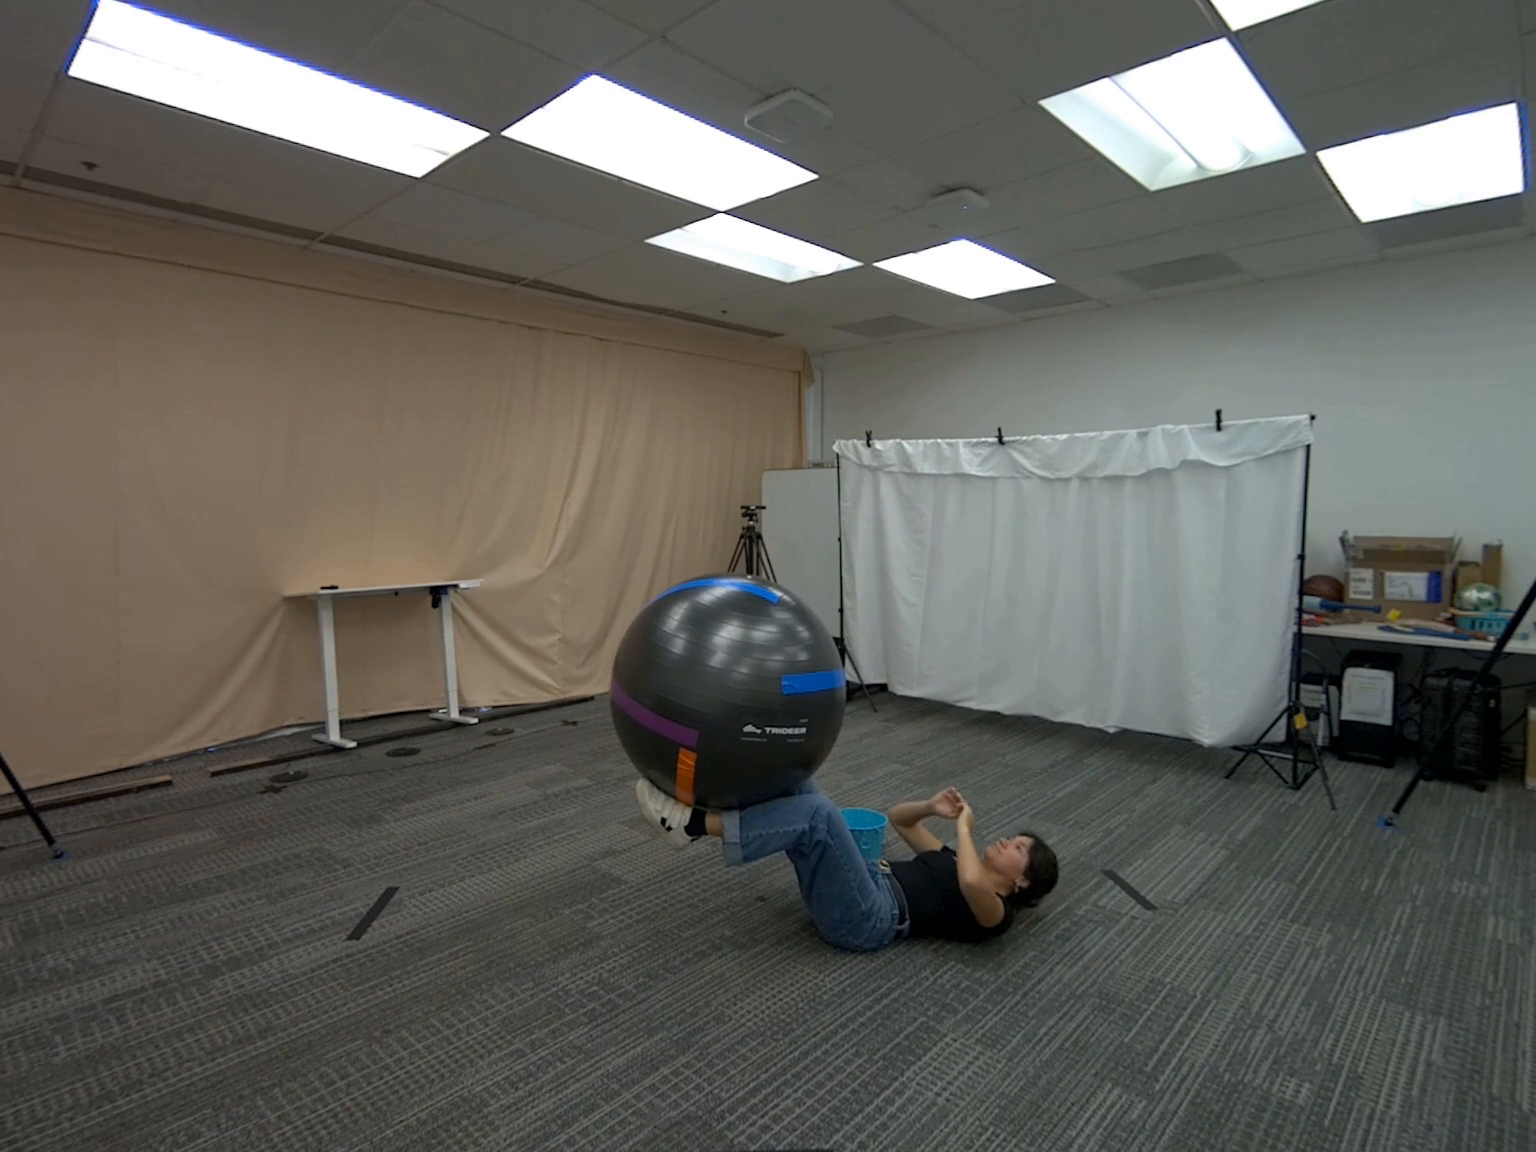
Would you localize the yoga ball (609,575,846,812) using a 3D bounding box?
[{"bbox_3d":[-0.126,0.372,2.706,0.757,0.756,0.761,0,4,-2],"label":"yoga ball"}]
